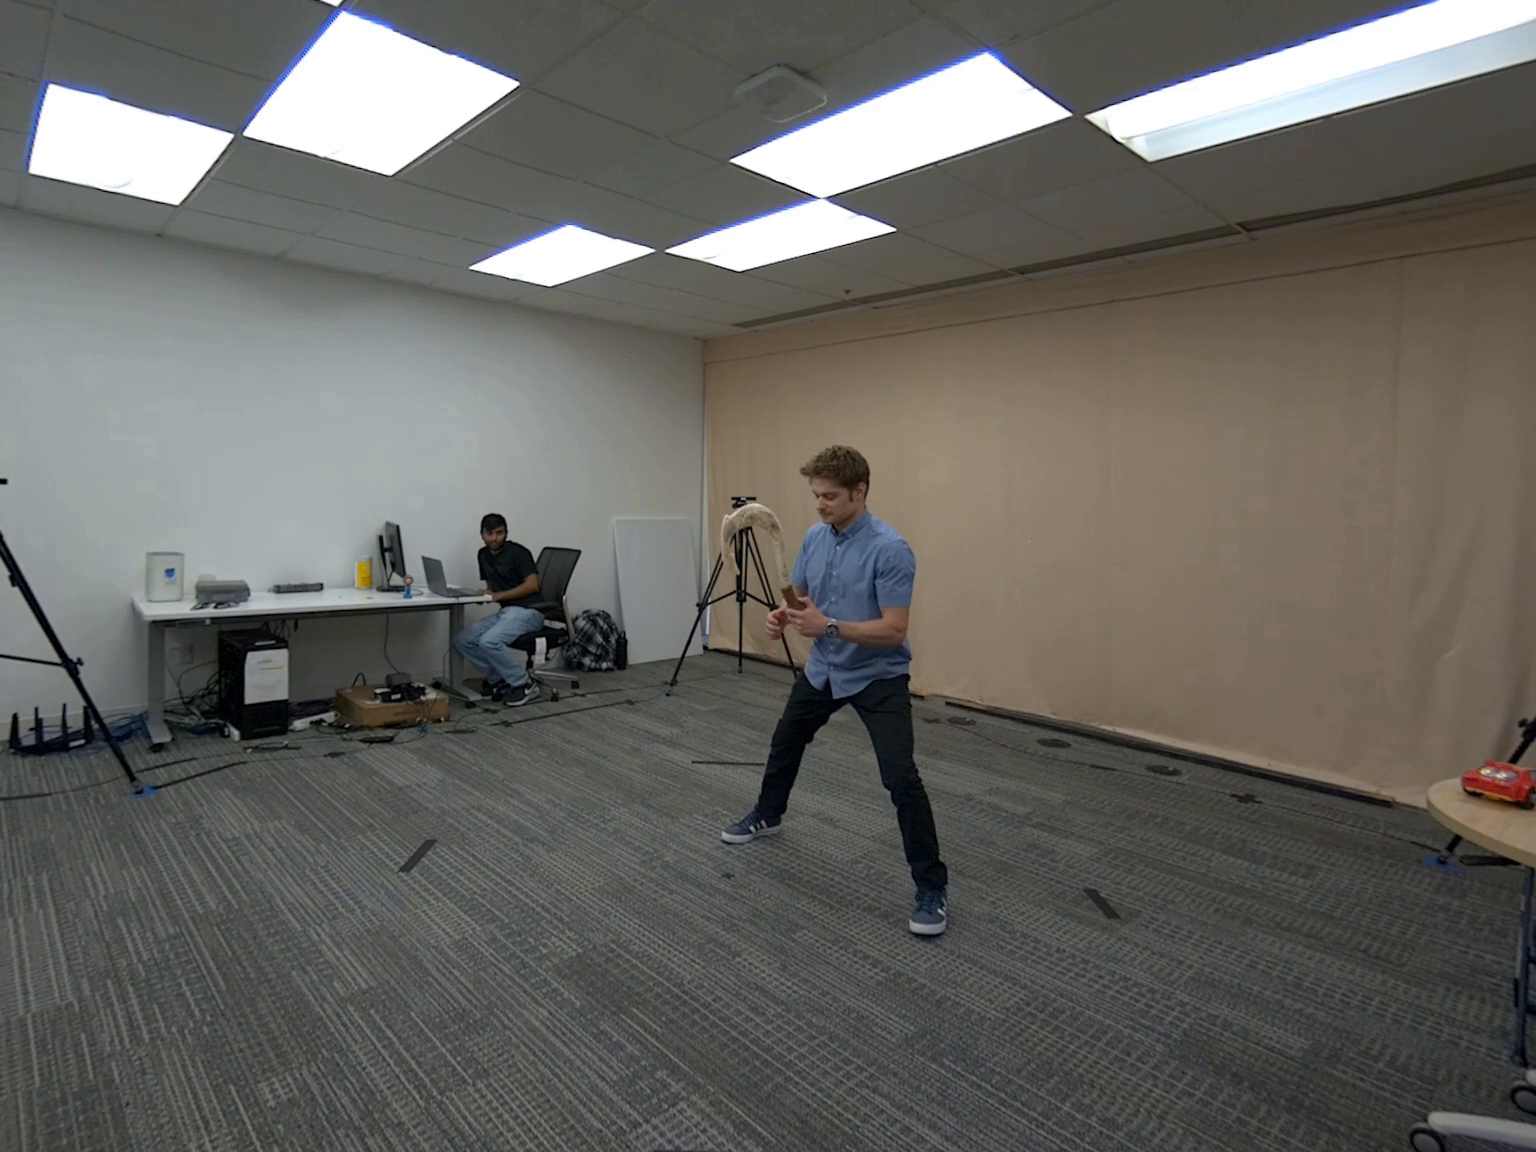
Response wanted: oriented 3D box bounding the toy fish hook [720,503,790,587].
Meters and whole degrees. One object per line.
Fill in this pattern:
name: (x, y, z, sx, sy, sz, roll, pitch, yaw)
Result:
toy fish hook: (-0.008, 0.012, 2.771, 0.224, 0.500, 0.049, -27, 13, -9)
